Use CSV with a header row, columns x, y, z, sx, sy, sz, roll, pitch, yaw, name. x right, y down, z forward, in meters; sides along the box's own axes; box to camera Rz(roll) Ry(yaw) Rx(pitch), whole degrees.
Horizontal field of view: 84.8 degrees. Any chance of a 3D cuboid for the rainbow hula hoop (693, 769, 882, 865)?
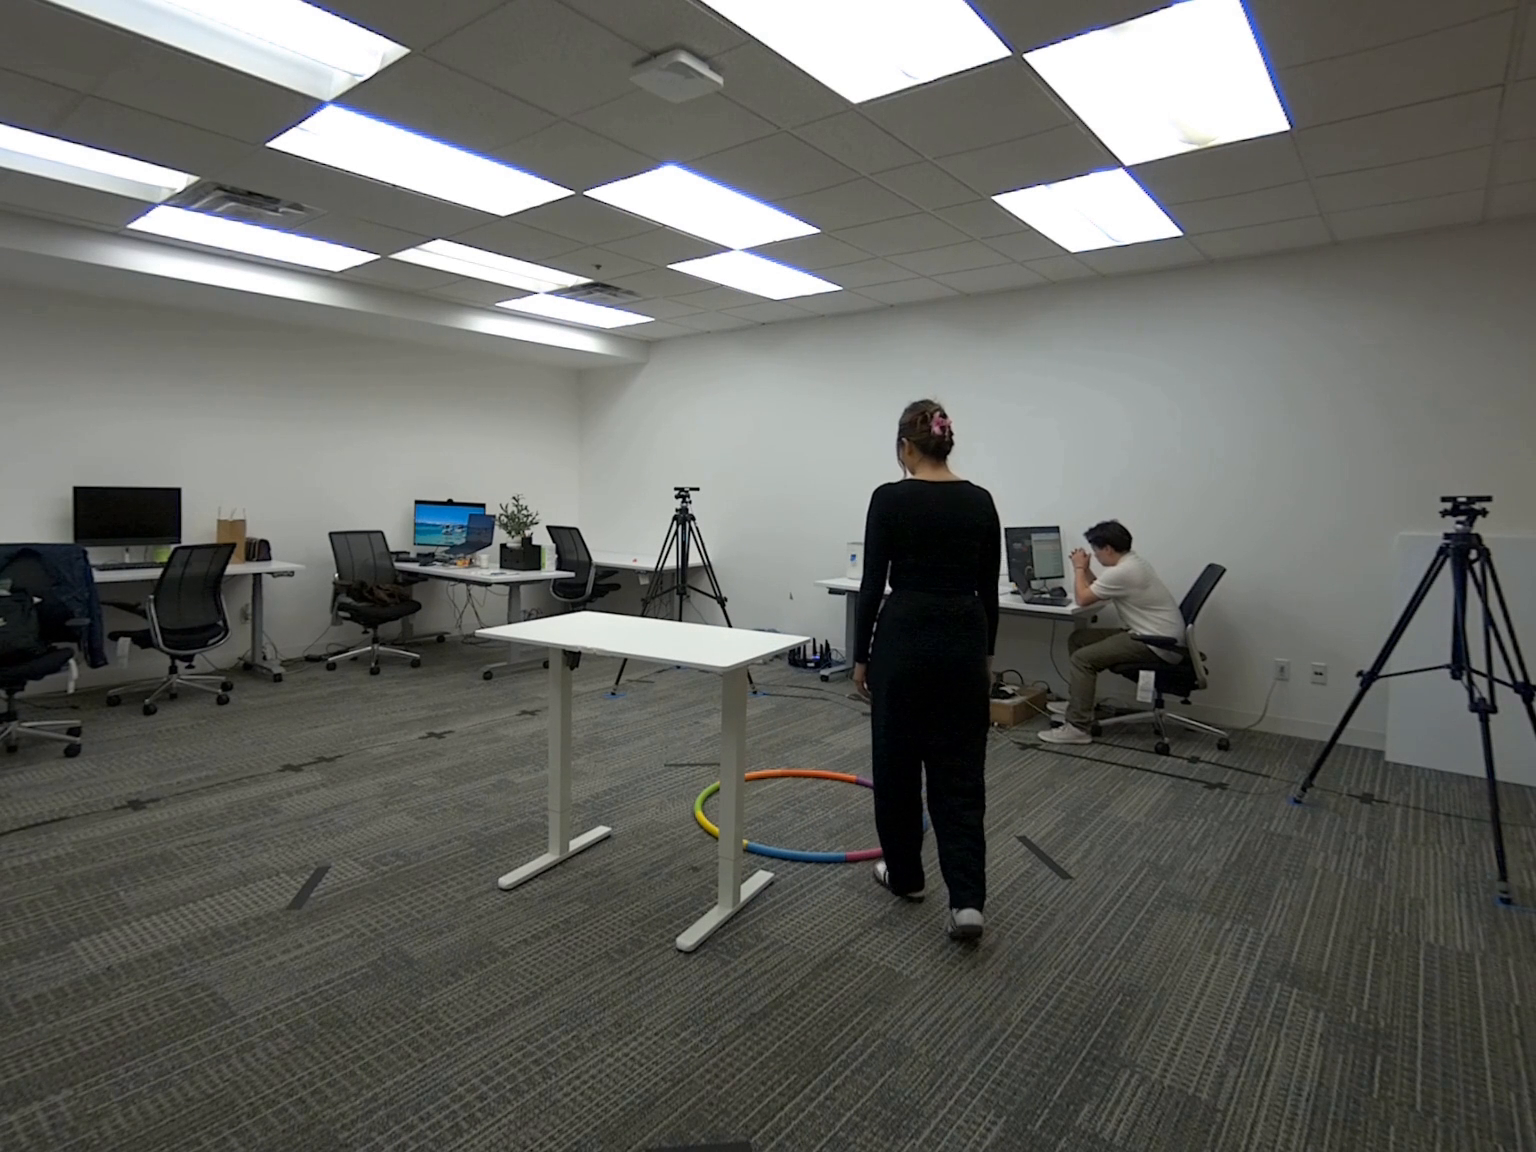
x,y,z,sx,sy,sz,roll,pitch,yaw,name
0.160,0.992,3.660,0.978,0.035,0.984,1,6,-2,rainbow hula hoop
